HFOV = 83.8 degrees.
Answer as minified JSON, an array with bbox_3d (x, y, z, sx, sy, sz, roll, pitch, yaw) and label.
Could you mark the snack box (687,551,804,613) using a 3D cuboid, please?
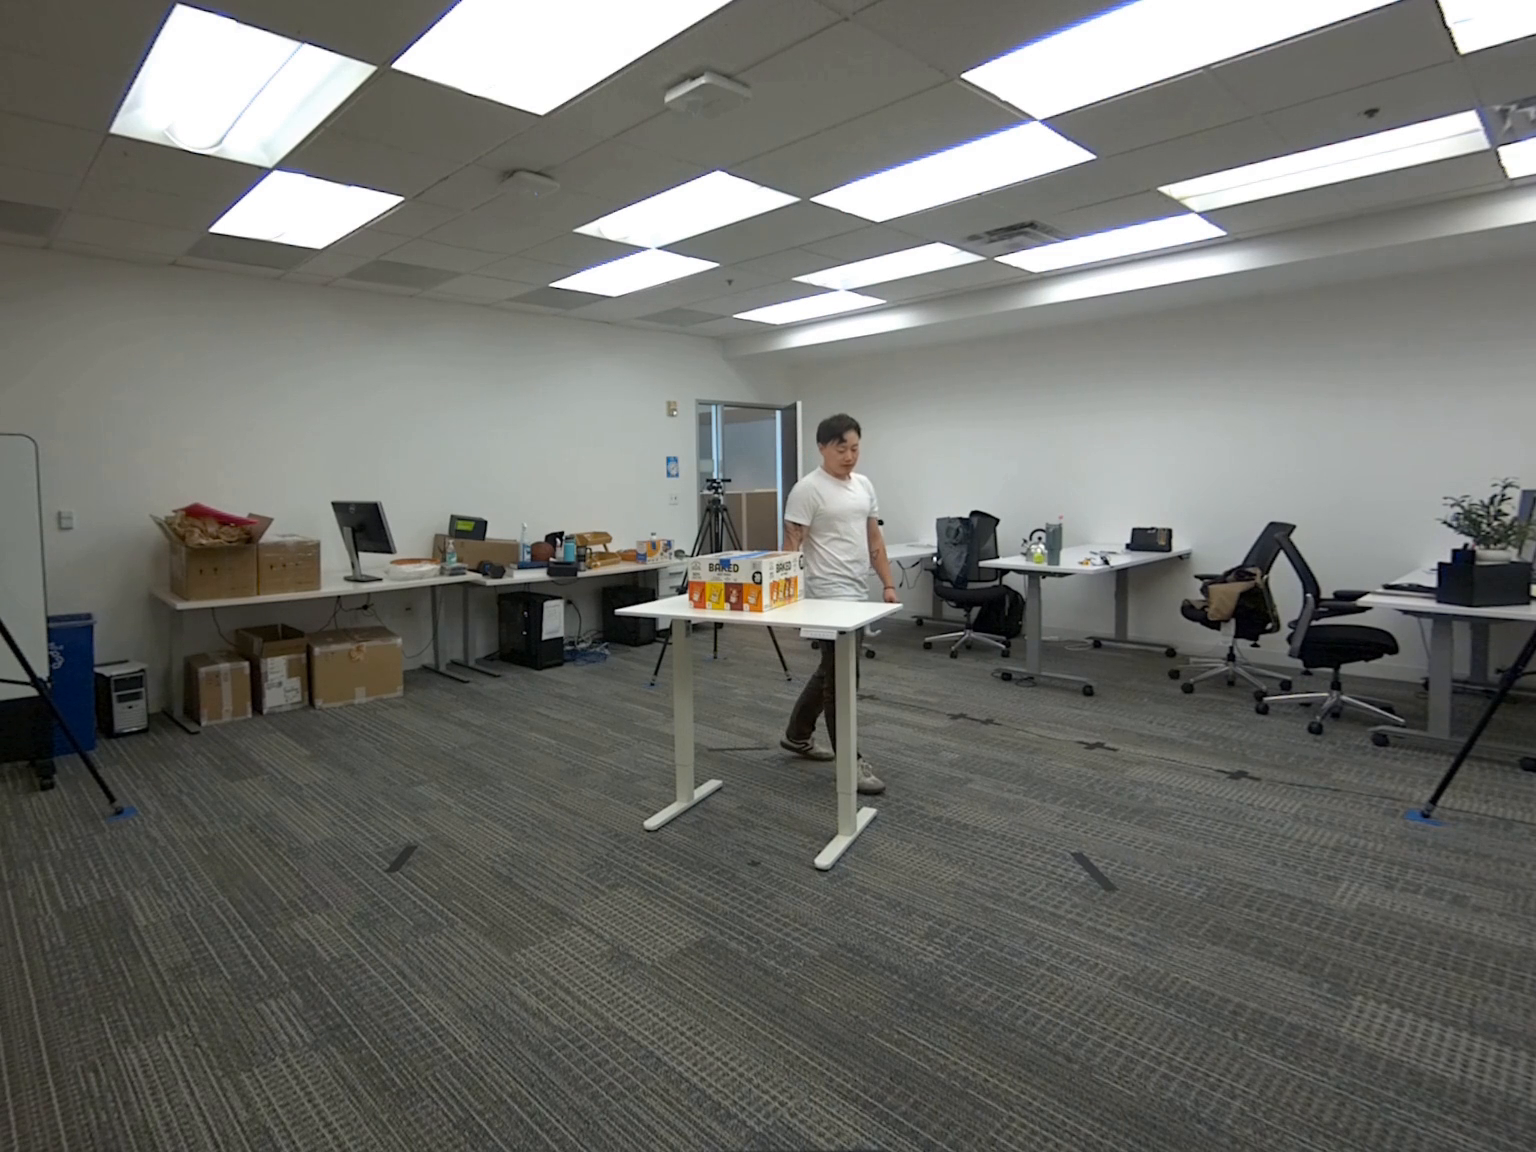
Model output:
[{"bbox_3d":[-0.088,0.015,3.545,0.349,0.205,0.397,2,6,27],"label":"snack box"}]
